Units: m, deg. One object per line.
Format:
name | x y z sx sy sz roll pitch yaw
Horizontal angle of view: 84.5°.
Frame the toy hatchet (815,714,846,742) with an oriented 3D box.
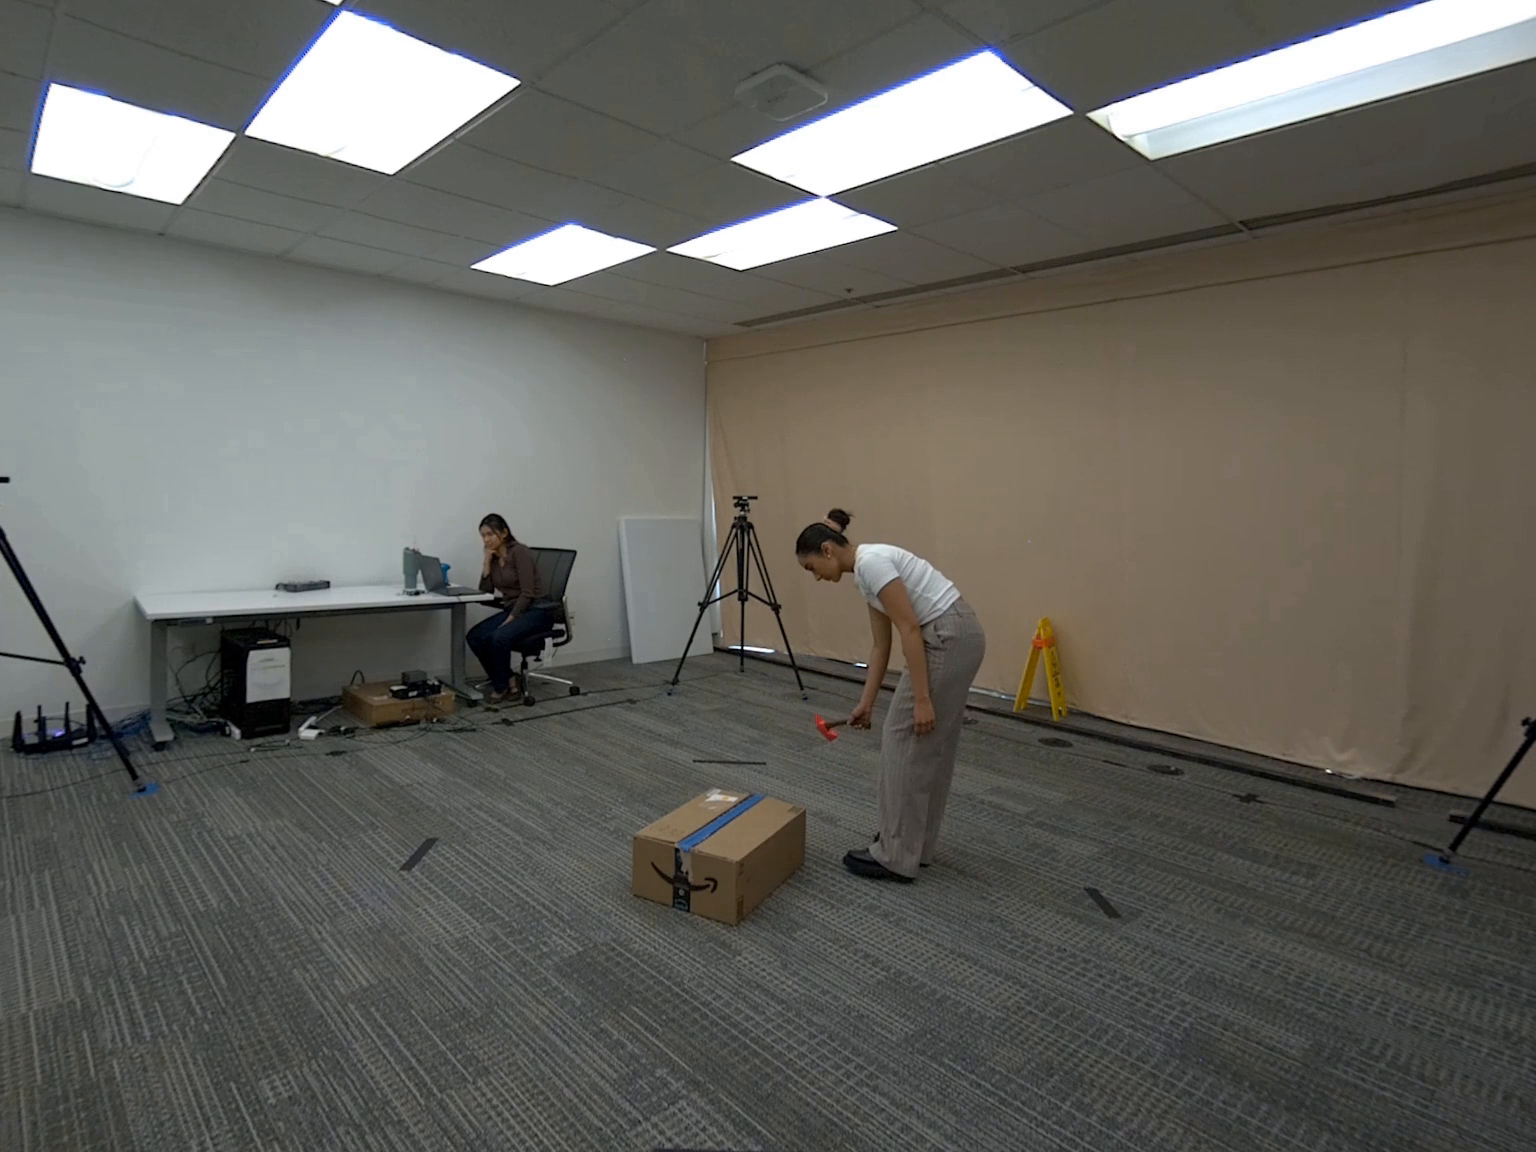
toy hatchet | 0.311 0.651 3.544 0.276 0.129 0.029 1 24 39
